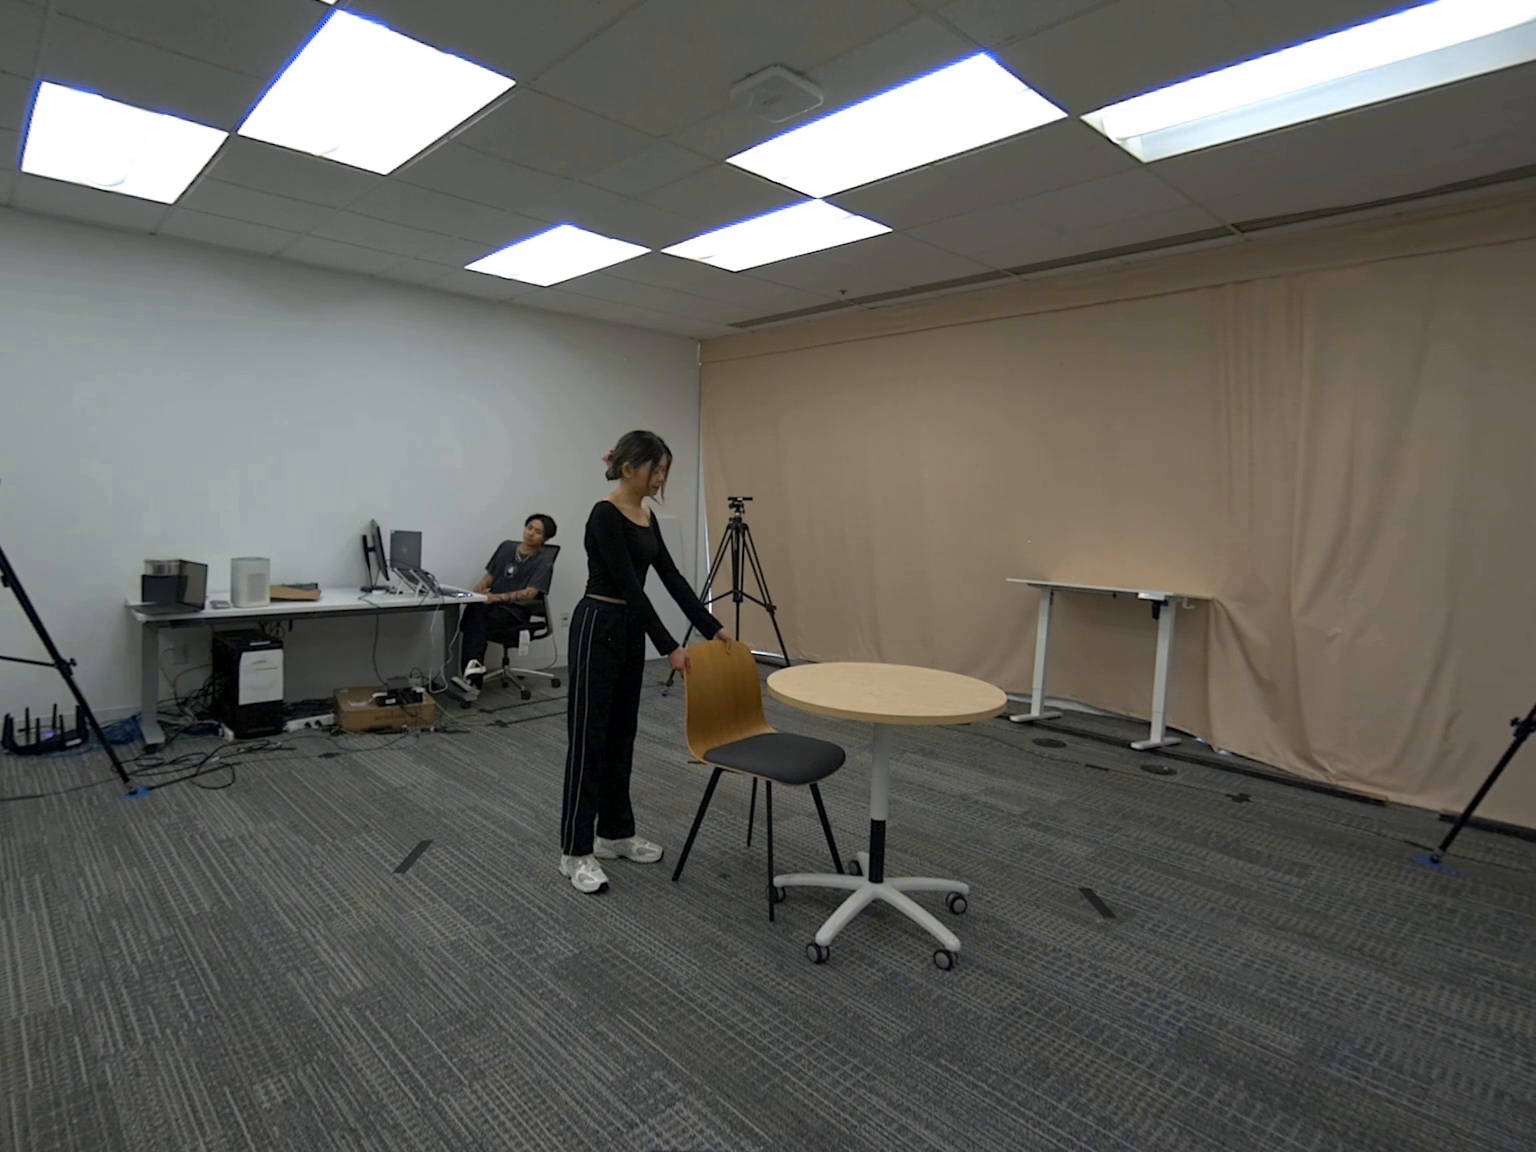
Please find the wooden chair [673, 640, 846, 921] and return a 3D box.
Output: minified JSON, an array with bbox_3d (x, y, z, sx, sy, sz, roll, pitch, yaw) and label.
[{"bbox_3d":[-0.027,0.684,3.053,0.535,0.877,0.467,-2,0,39],"label":"wooden chair"}]
